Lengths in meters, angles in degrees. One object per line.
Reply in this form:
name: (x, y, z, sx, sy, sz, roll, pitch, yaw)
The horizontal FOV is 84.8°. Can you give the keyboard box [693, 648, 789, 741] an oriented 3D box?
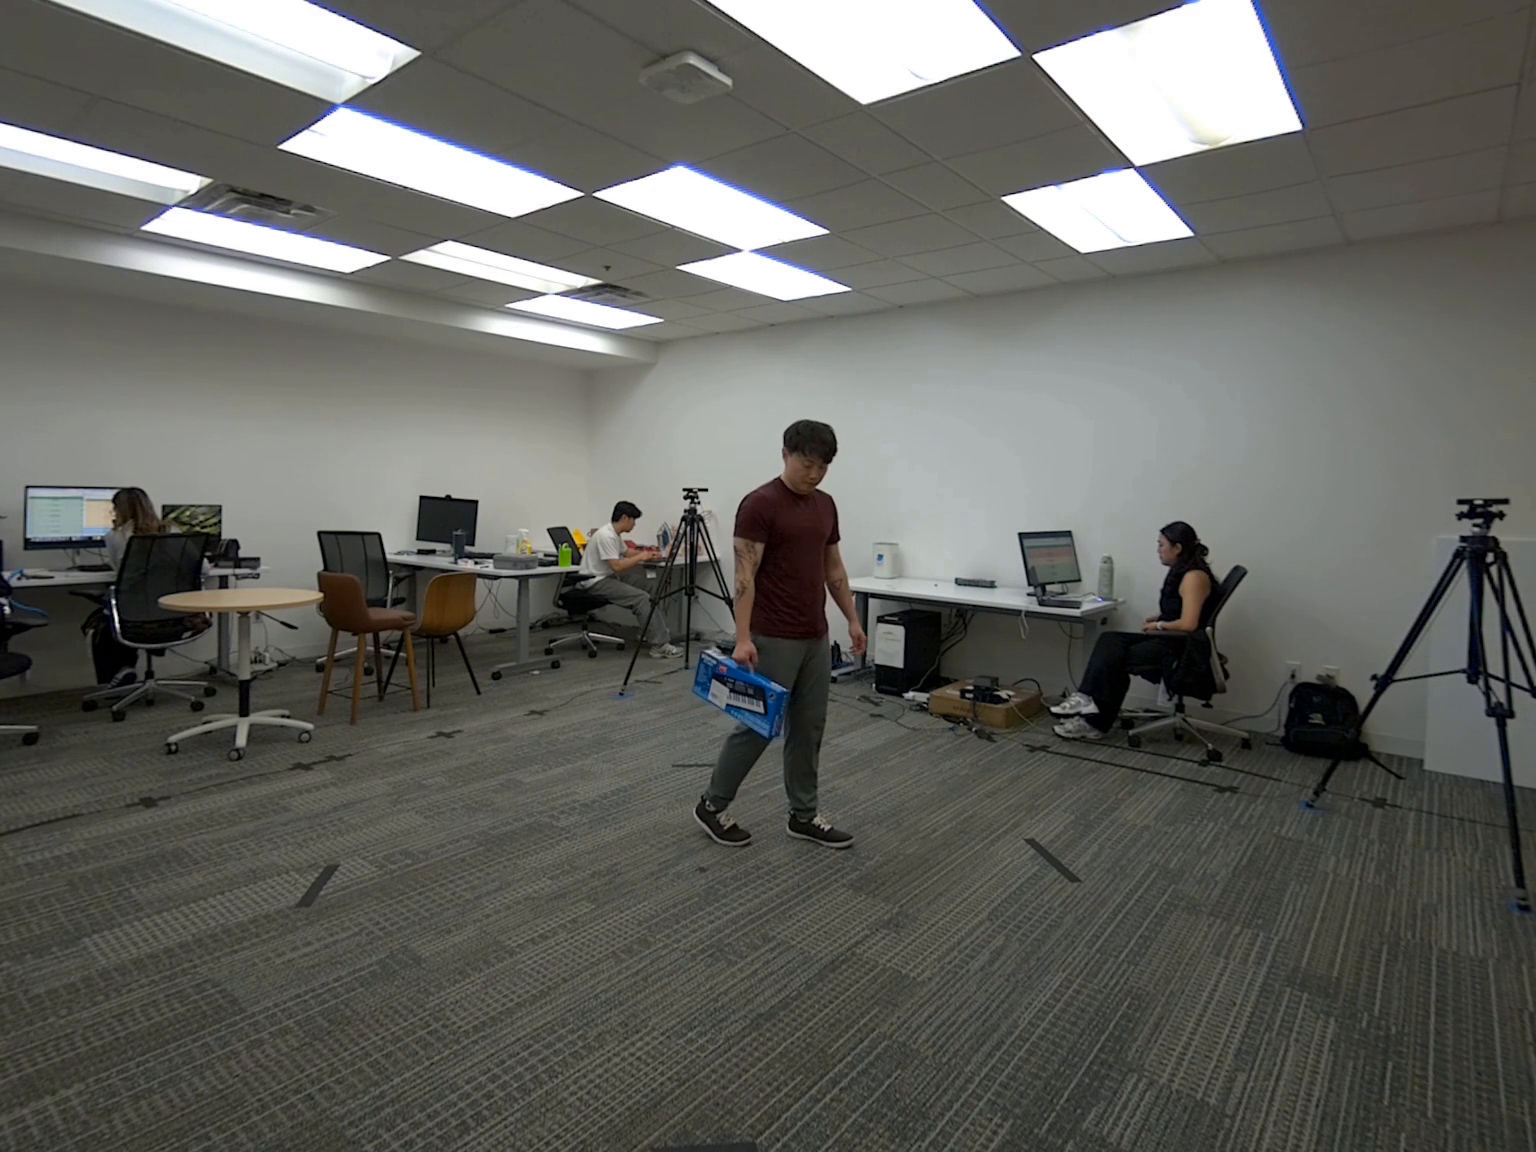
keyboard box: (-0.113, 0.424, 3.117, 0.057, 0.175, 0.454, 4, 11, -43)
